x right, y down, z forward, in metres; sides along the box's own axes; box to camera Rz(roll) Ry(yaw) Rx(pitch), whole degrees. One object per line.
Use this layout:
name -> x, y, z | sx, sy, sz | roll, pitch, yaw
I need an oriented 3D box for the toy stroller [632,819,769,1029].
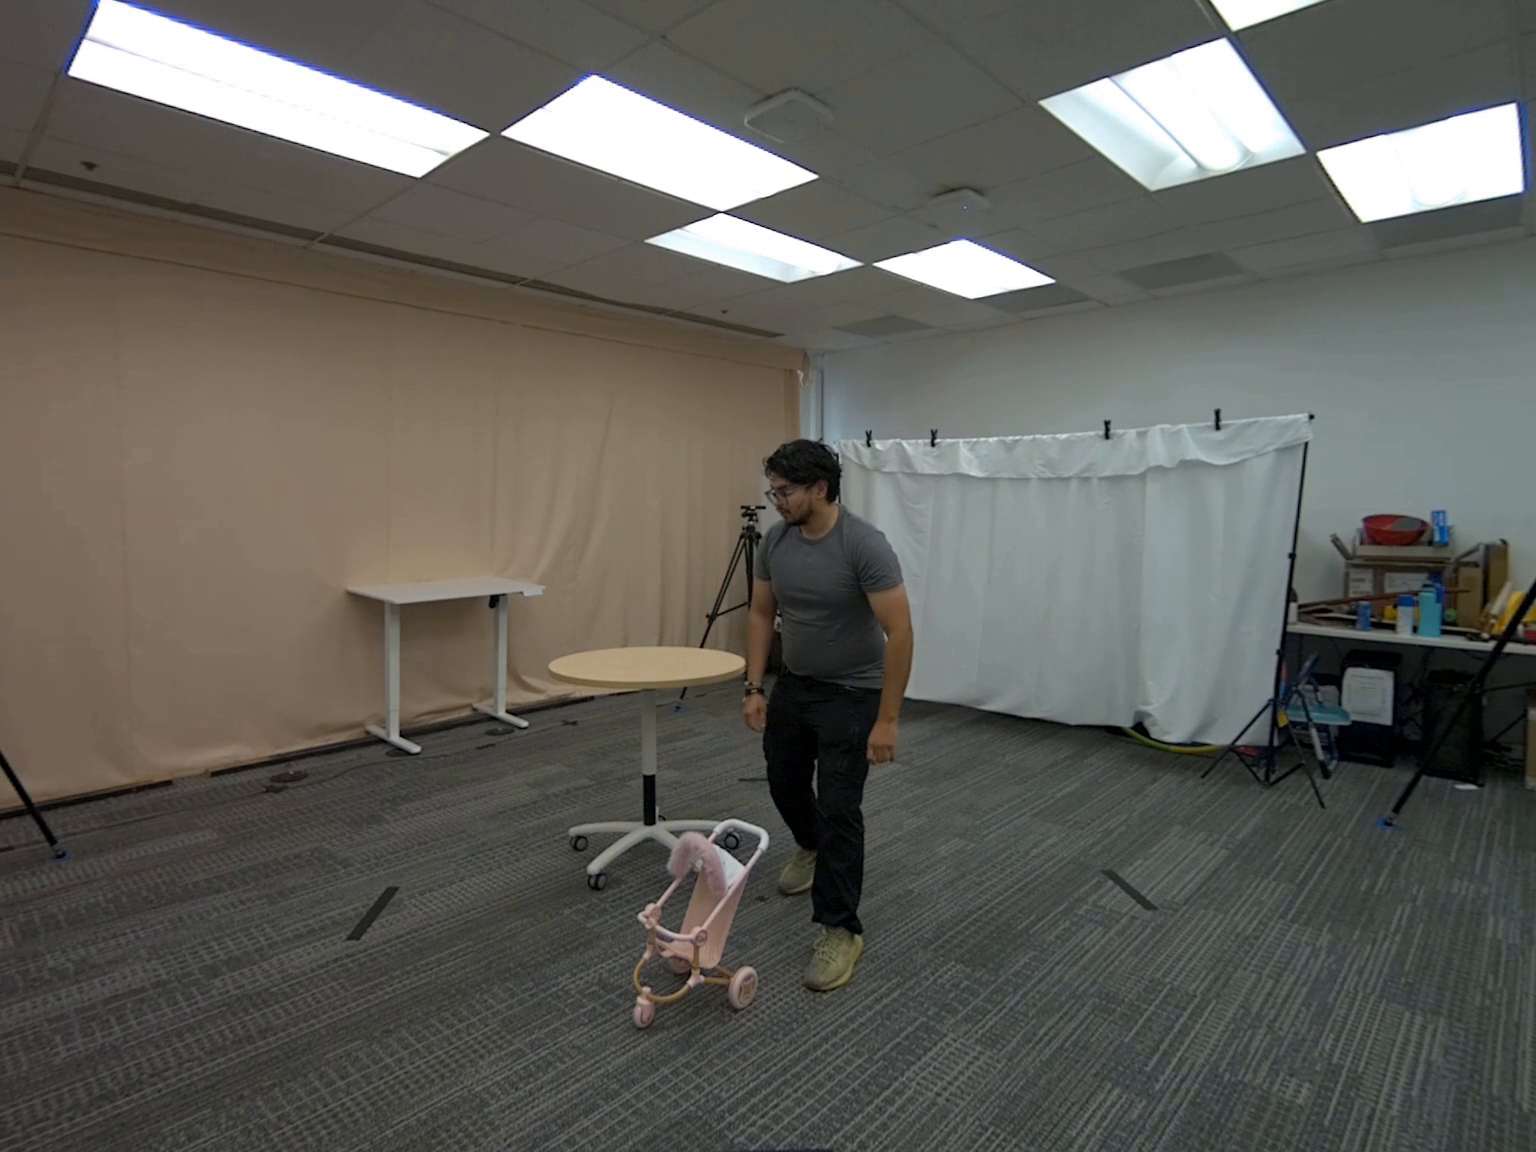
toy stroller -> -0.203, 0.969, 2.371 | 0.329, 0.536, 0.291 | 17, -9, -41
